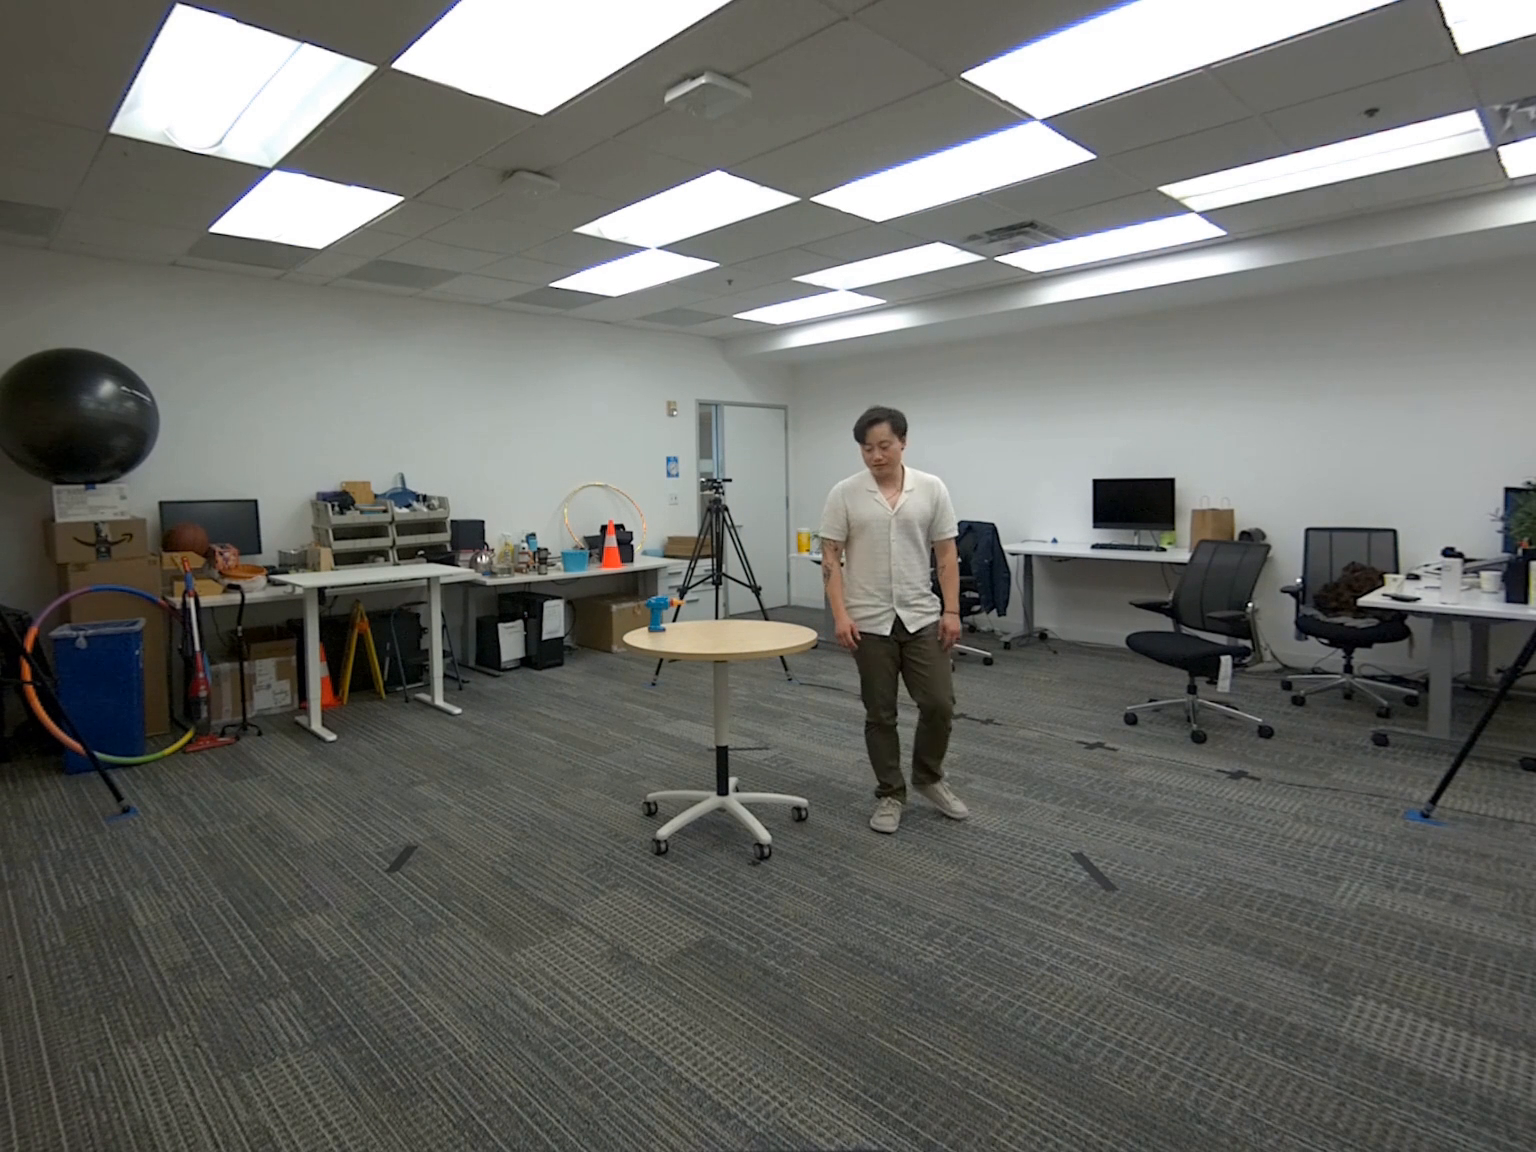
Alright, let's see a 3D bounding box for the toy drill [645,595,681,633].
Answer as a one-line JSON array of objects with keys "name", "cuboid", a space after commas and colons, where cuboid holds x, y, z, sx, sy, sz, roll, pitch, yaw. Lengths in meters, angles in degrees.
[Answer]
[{"name": "toy drill", "cuboid": [-0.419, 0.149, 3.495, 0.166, 0.145, 0.062, -3, 5, -23]}]
